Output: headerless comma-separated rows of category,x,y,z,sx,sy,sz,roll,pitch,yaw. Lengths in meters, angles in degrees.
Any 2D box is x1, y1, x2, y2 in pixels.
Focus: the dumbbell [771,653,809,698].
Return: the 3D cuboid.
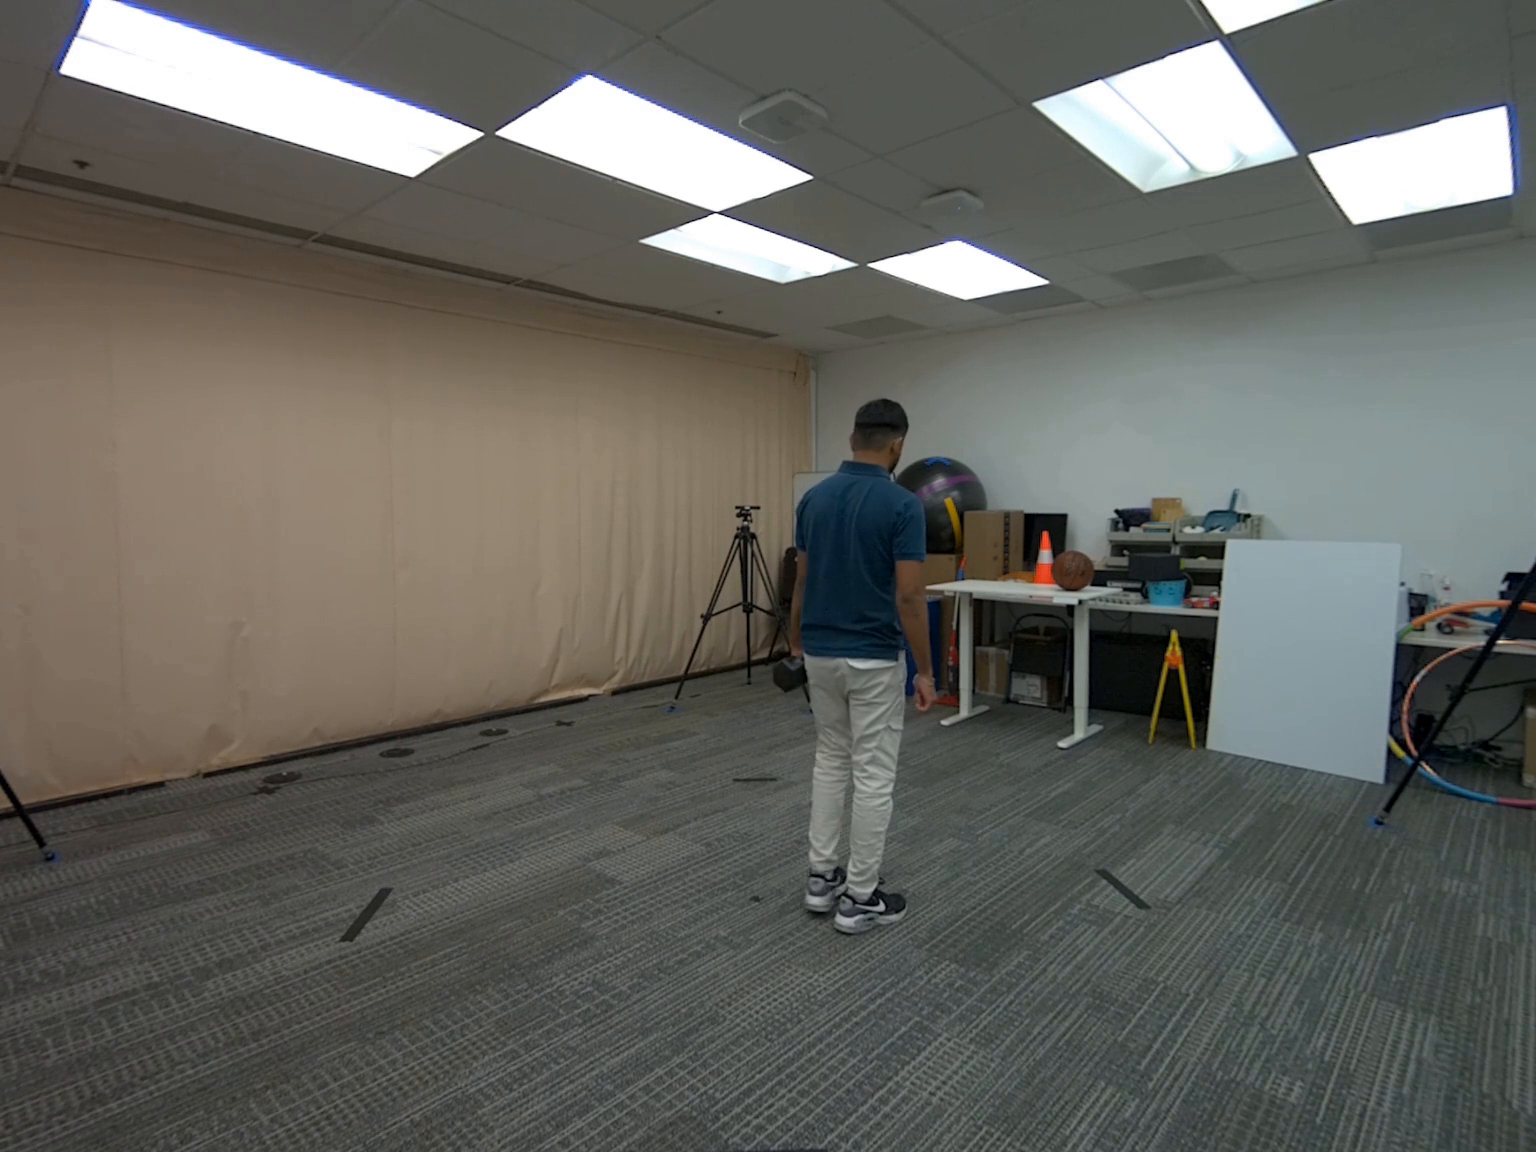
dumbbell,0.148,0.333,3.037,0.112,0.122,0.285,0,7,39
